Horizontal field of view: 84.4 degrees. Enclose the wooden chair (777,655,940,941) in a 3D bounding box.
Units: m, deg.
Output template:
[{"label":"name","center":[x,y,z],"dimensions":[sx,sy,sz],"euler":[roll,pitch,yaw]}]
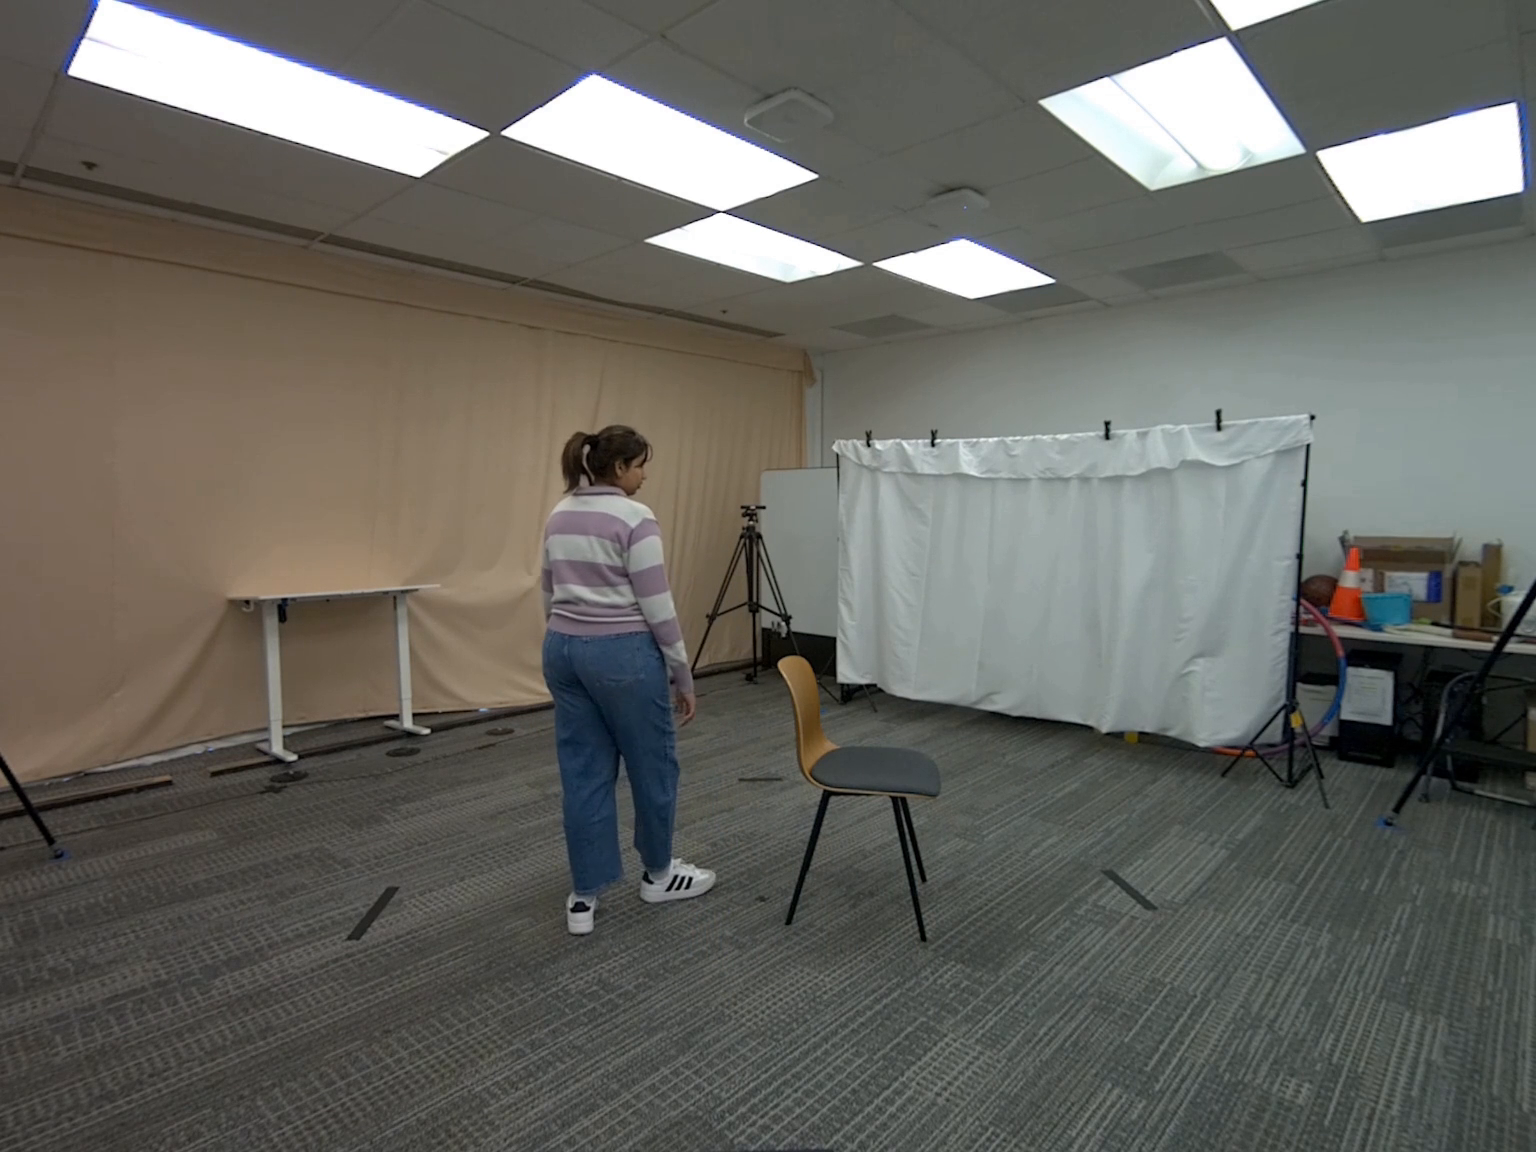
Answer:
[{"label":"wooden chair","center":[0.335,0.720,2.917],"dimensions":[0.531,0.876,0.472],"euler":[-4,2,13]}]
